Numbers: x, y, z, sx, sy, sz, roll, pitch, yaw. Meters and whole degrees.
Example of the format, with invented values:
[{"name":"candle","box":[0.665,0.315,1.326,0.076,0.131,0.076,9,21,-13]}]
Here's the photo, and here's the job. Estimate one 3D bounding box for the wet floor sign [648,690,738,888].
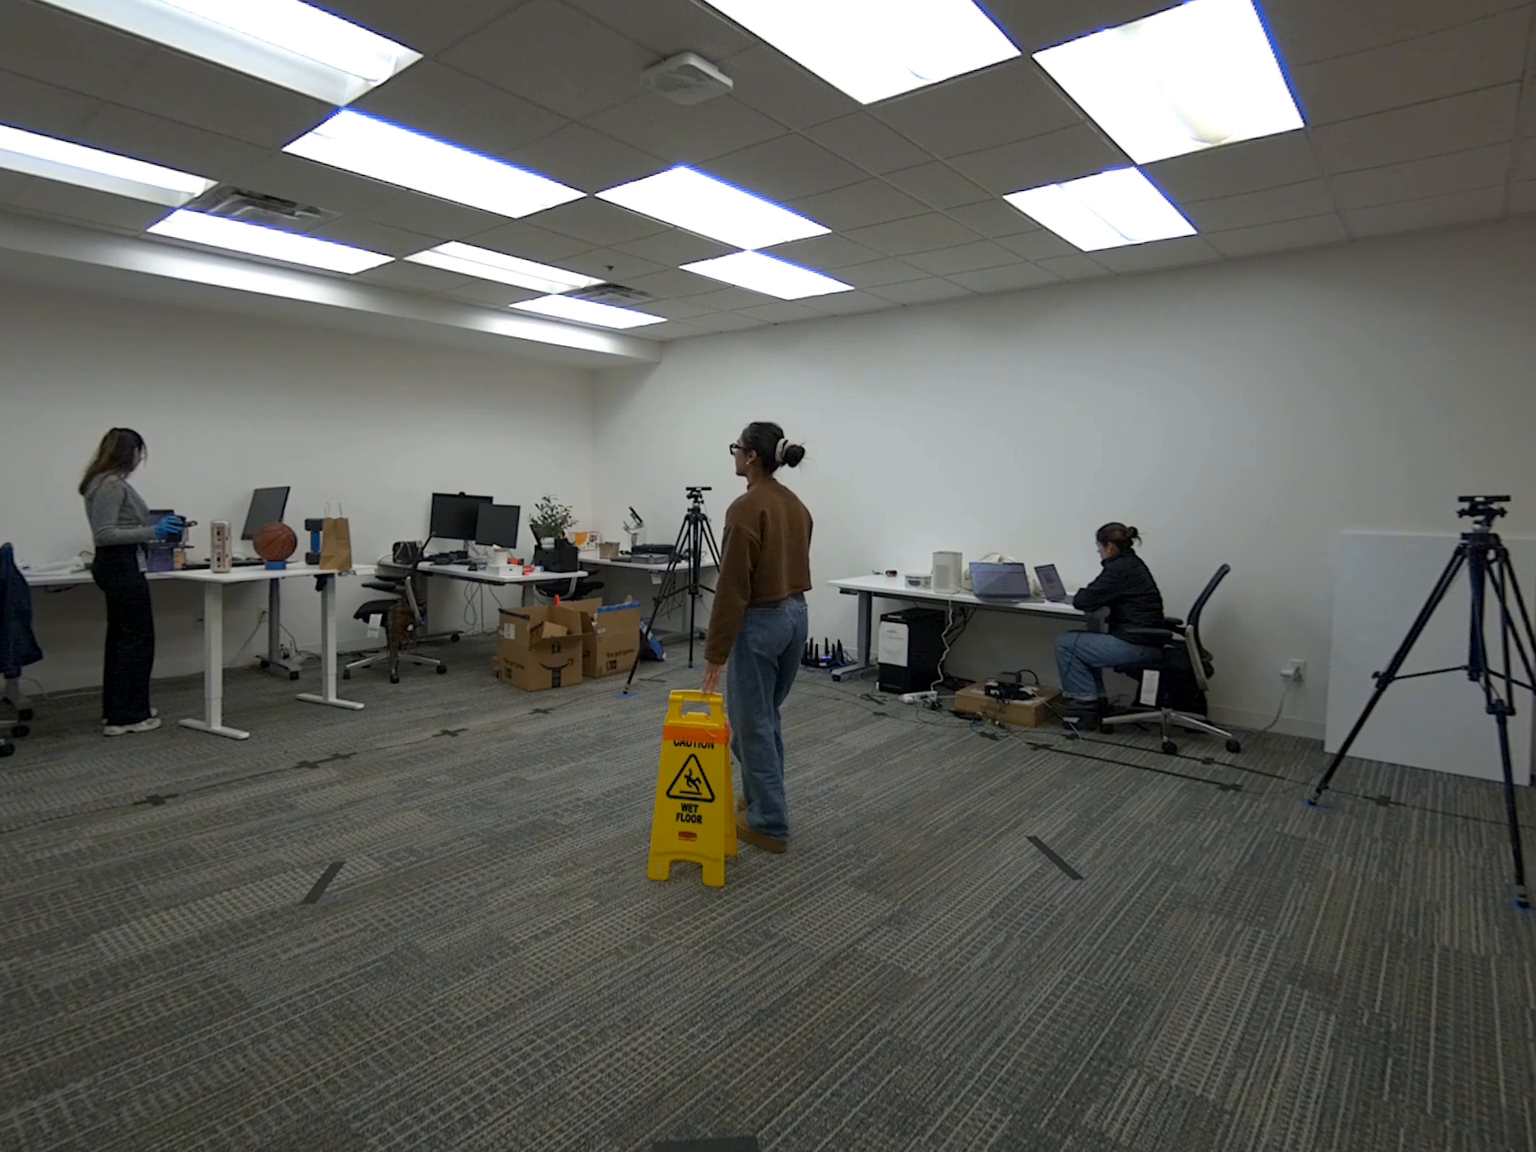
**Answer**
[{"name":"wet floor sign","box":[-0.279,0.742,3.102,0.286,0.644,0.287,0,4,11]}]
